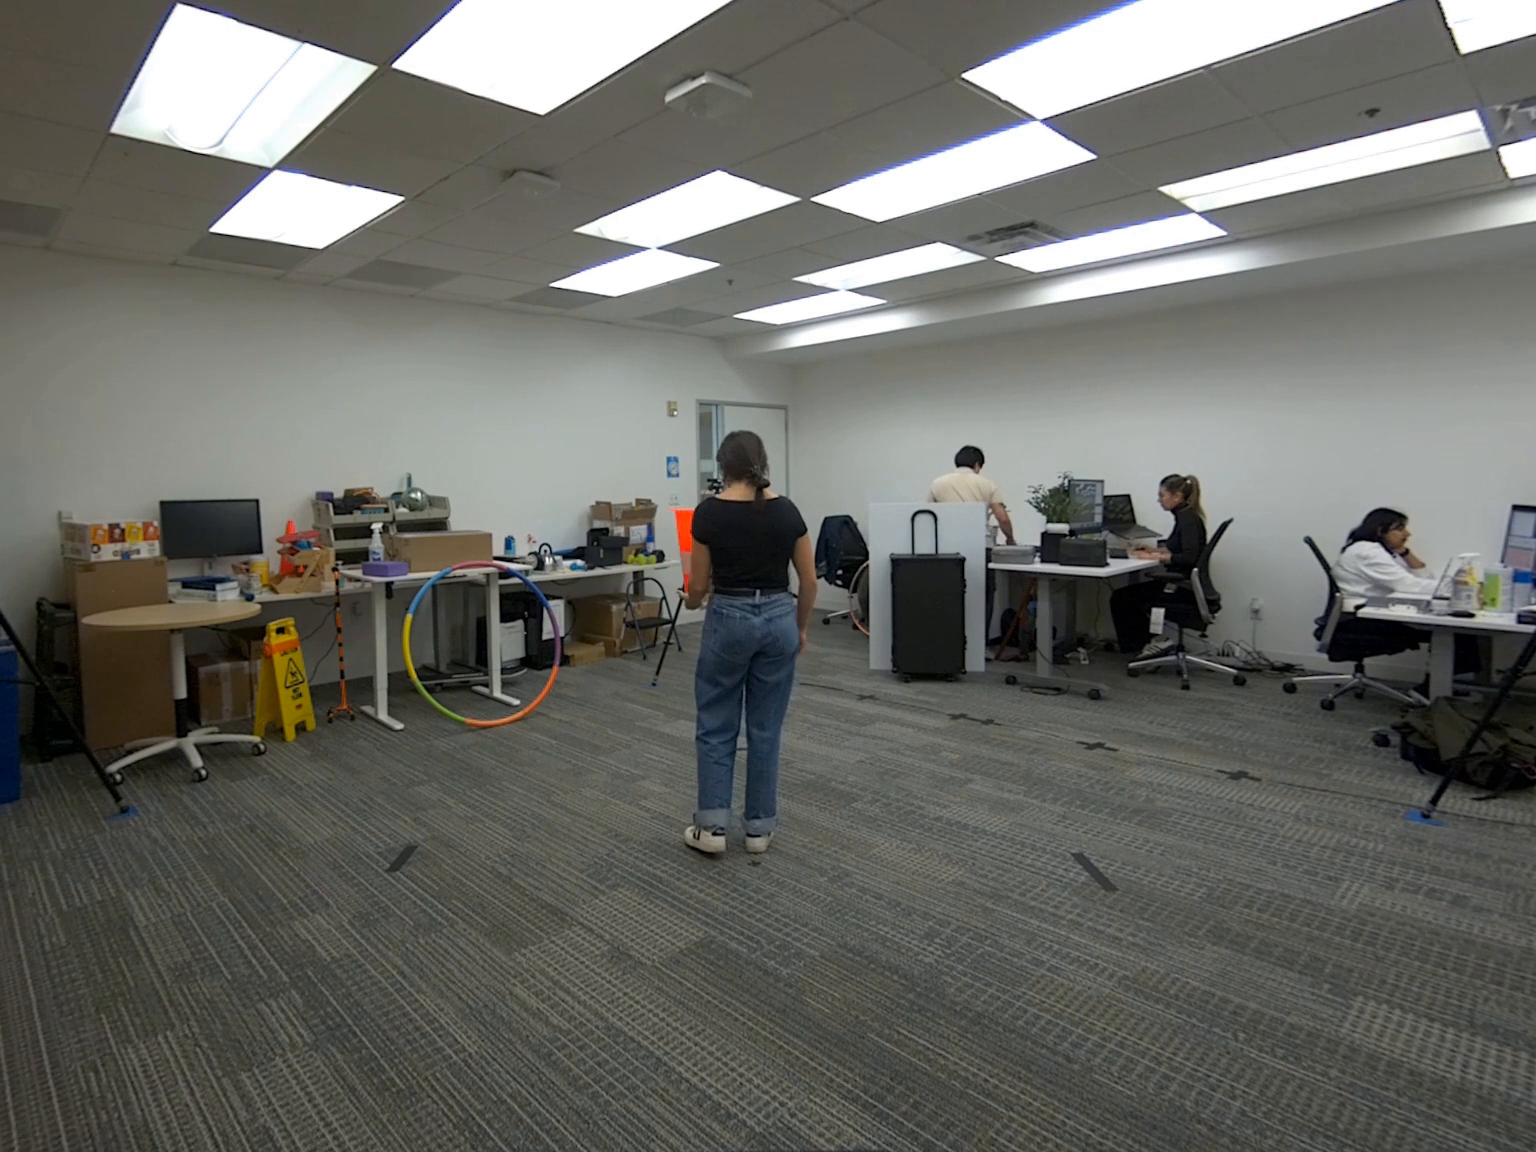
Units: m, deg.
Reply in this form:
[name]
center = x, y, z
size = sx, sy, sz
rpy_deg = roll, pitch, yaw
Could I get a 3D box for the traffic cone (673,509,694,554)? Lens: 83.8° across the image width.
[traffic cone]
center = -0.301, -0.078, 3.508
size = 0.202, 0.382, 0.207
rpy_deg = 4, 6, -7
